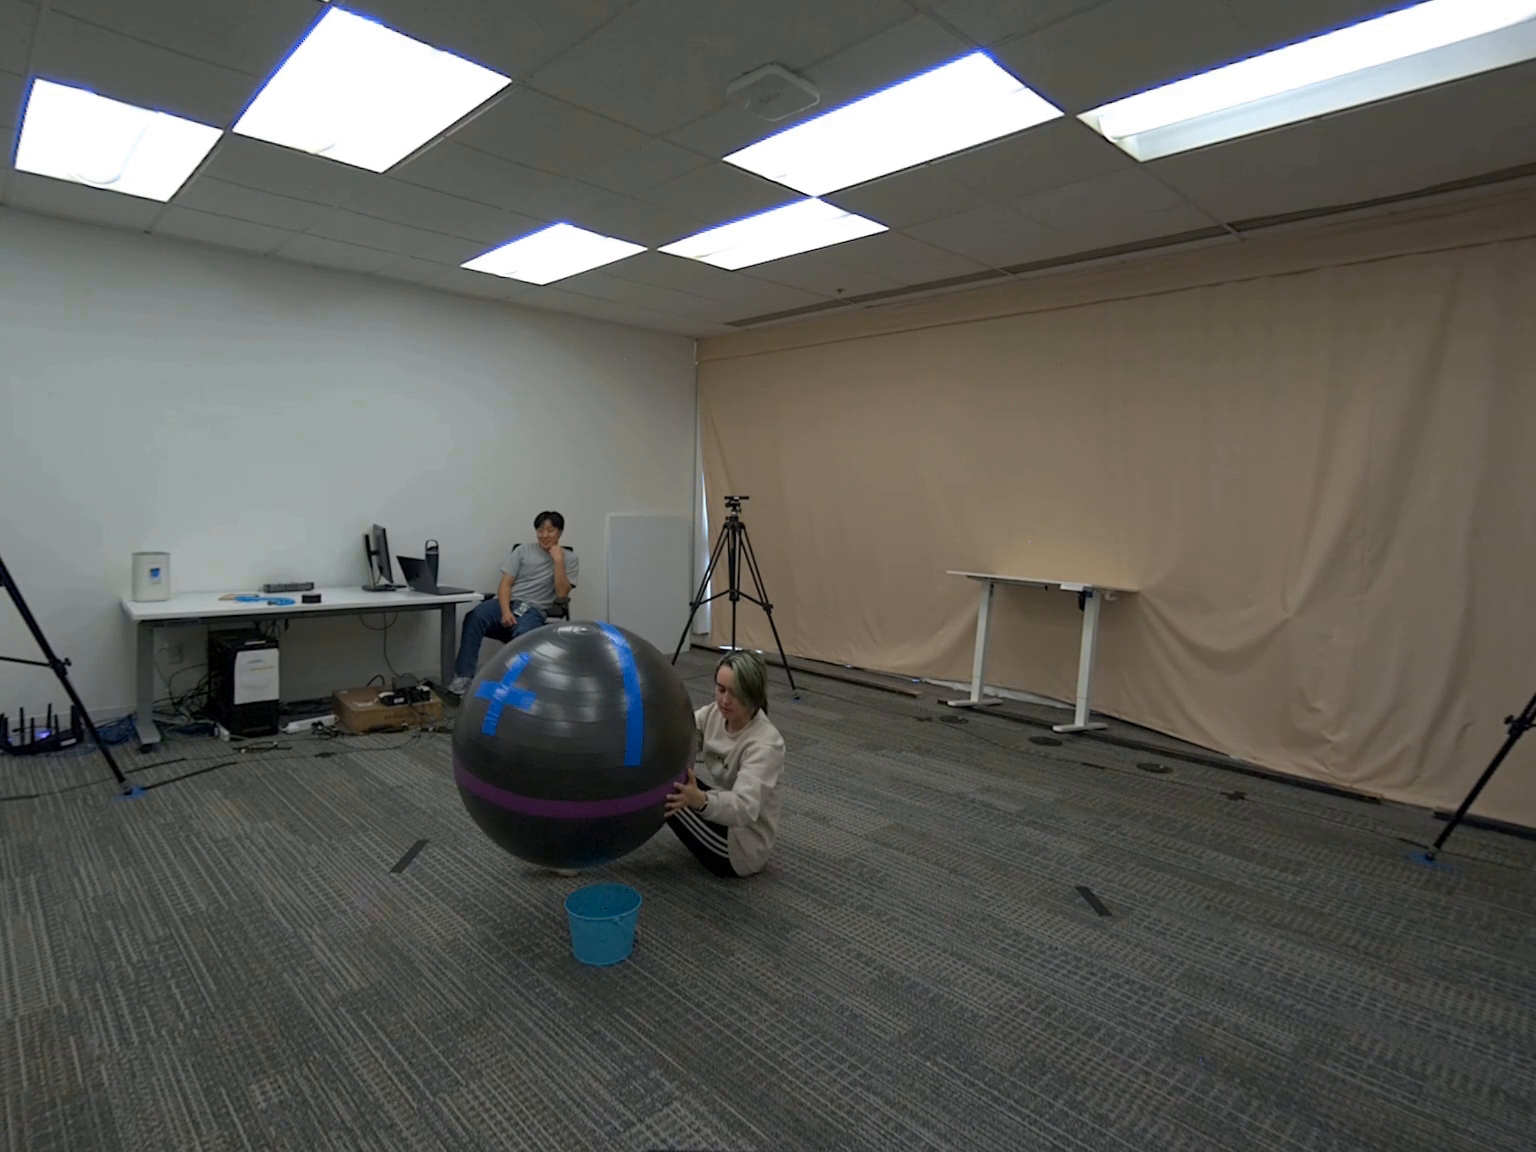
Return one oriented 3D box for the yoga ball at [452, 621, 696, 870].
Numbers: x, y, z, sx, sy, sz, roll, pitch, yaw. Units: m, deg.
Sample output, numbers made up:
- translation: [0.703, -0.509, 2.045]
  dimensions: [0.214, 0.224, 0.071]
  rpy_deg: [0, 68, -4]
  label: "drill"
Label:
- translation: [-0.620, 0.535, 2.659]
  dimensions: [0.757, 0.756, 0.761]
  rpy_deg: [1, 4, -1]
  label: "yoga ball"
